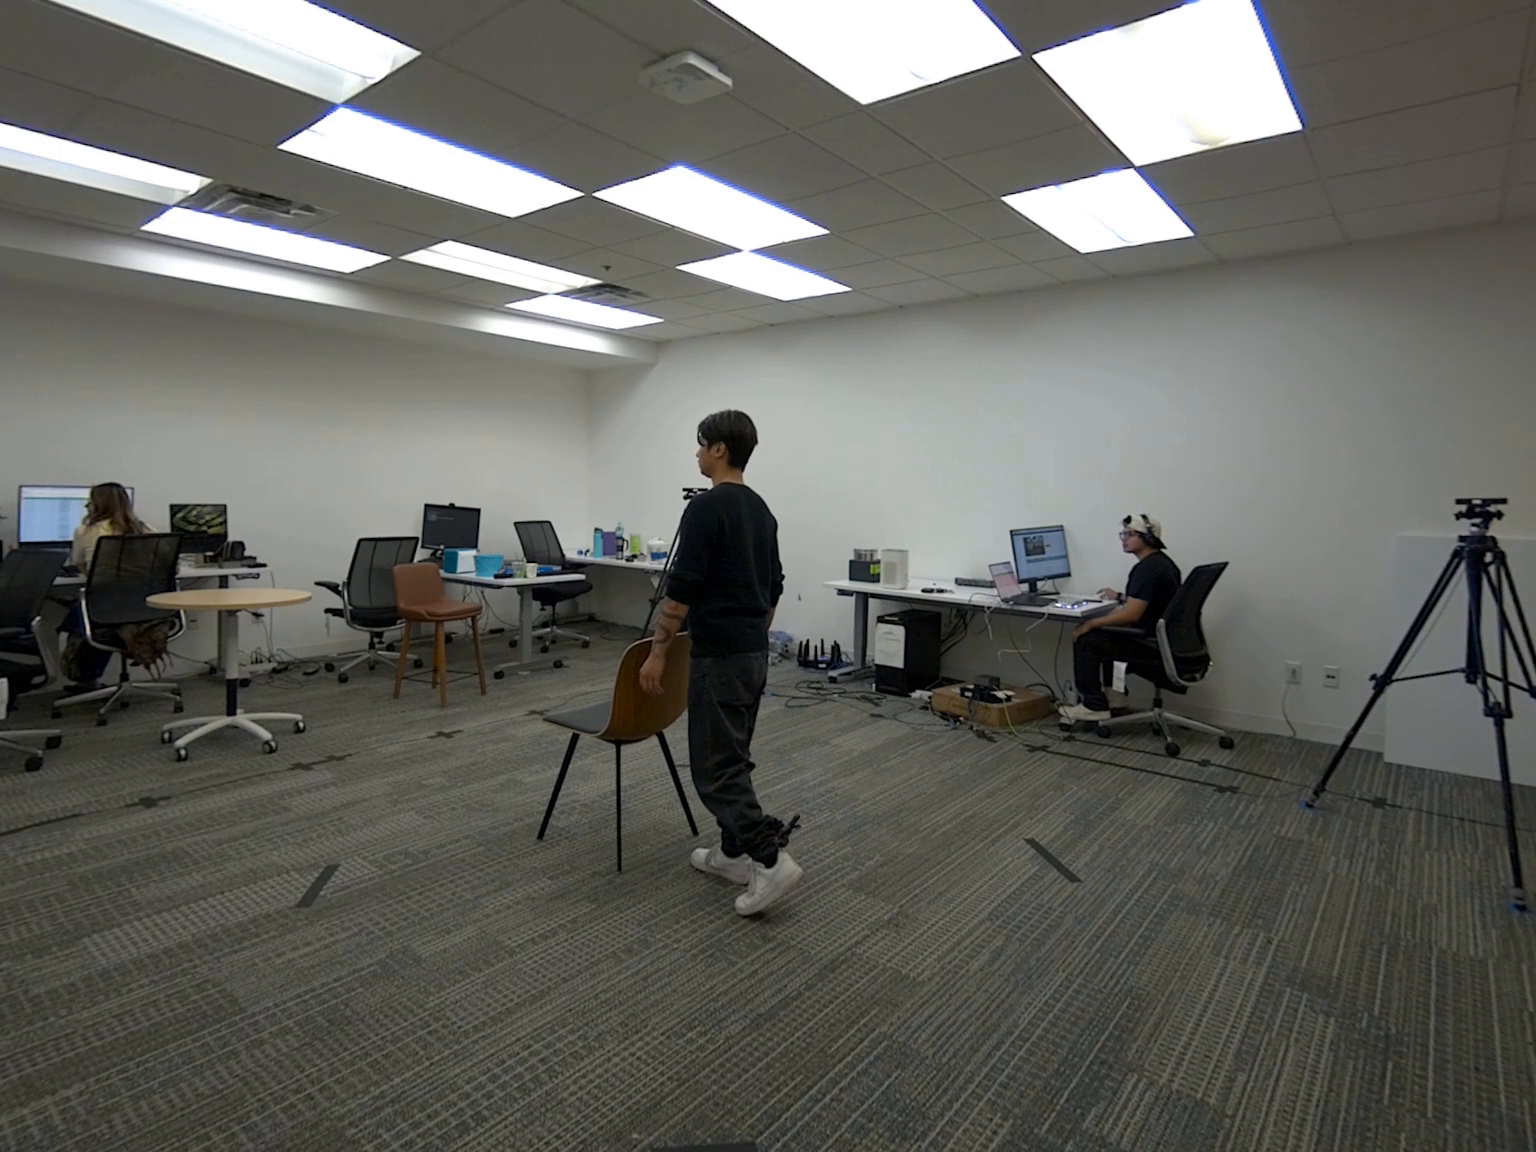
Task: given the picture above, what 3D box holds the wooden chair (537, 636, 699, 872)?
[{"bbox_3d":[-0.602,0.611,3.360,0.541,0.873,0.464,9,7,36],"label":"wooden chair"}]
